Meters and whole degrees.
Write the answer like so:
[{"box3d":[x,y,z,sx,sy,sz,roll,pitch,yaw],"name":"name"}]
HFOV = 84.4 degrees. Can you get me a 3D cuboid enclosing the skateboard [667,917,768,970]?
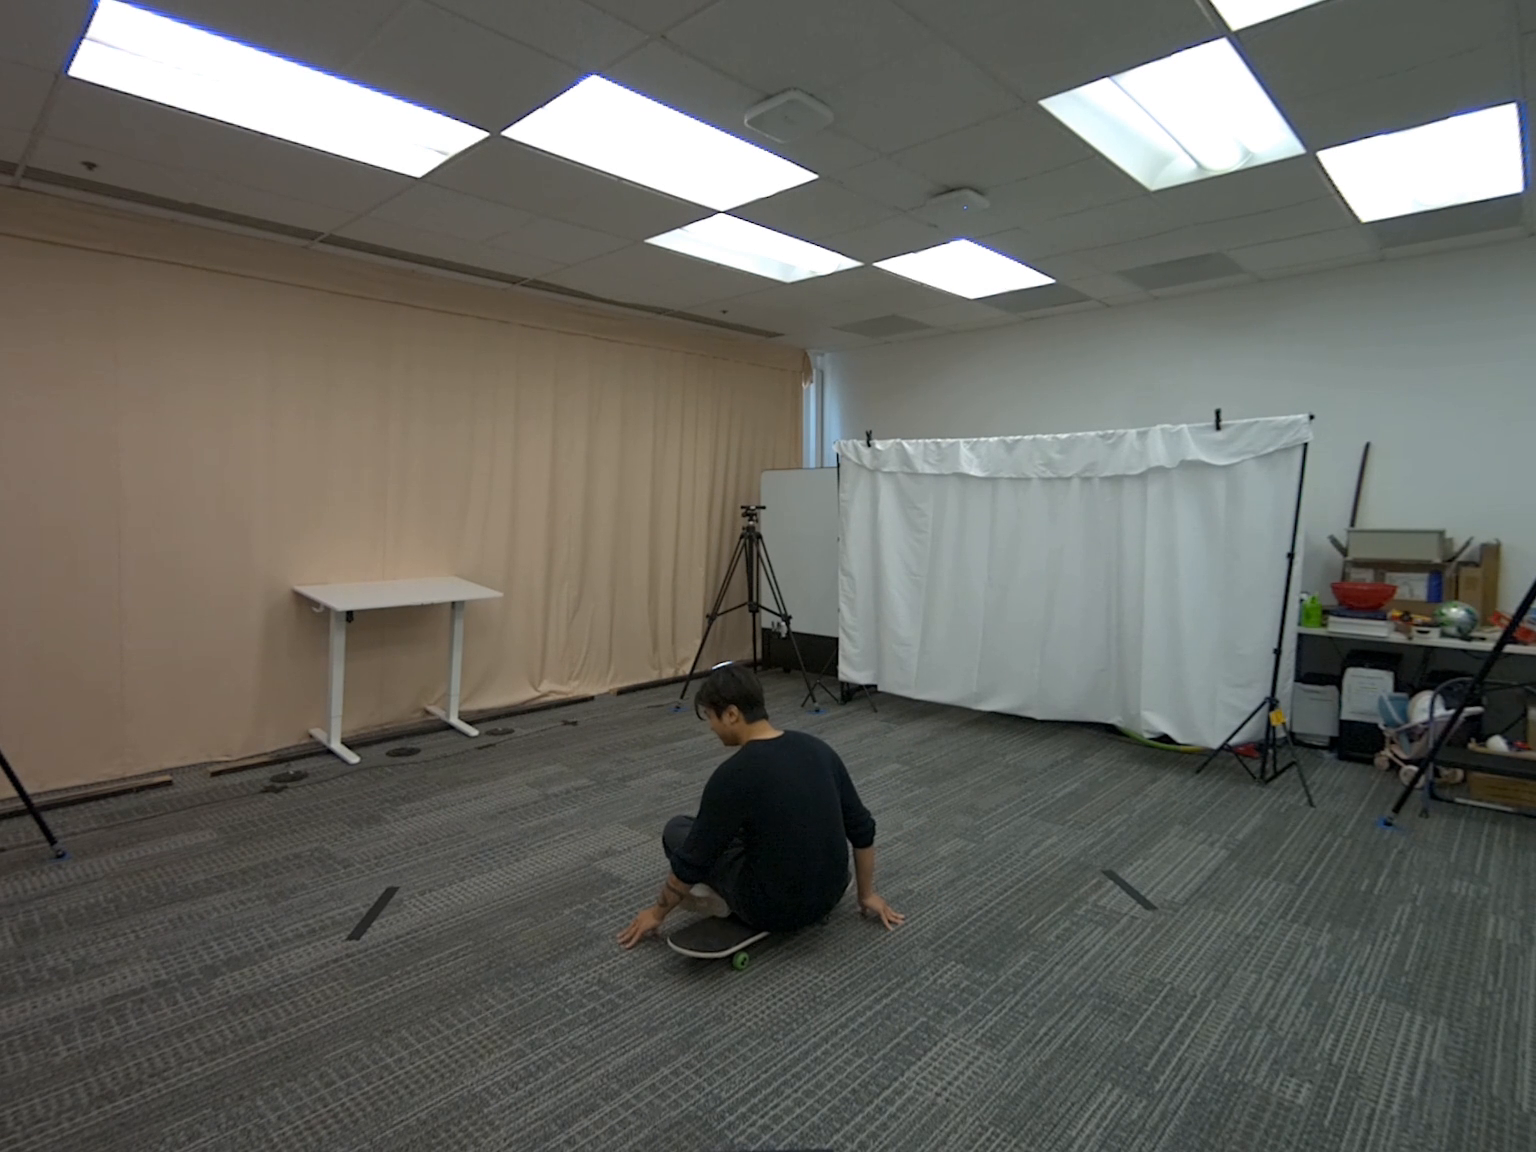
[{"box3d":[-0.004,1.122,2.722,0.200,0.110,0.761,3,5,45],"name":"skateboard"}]
